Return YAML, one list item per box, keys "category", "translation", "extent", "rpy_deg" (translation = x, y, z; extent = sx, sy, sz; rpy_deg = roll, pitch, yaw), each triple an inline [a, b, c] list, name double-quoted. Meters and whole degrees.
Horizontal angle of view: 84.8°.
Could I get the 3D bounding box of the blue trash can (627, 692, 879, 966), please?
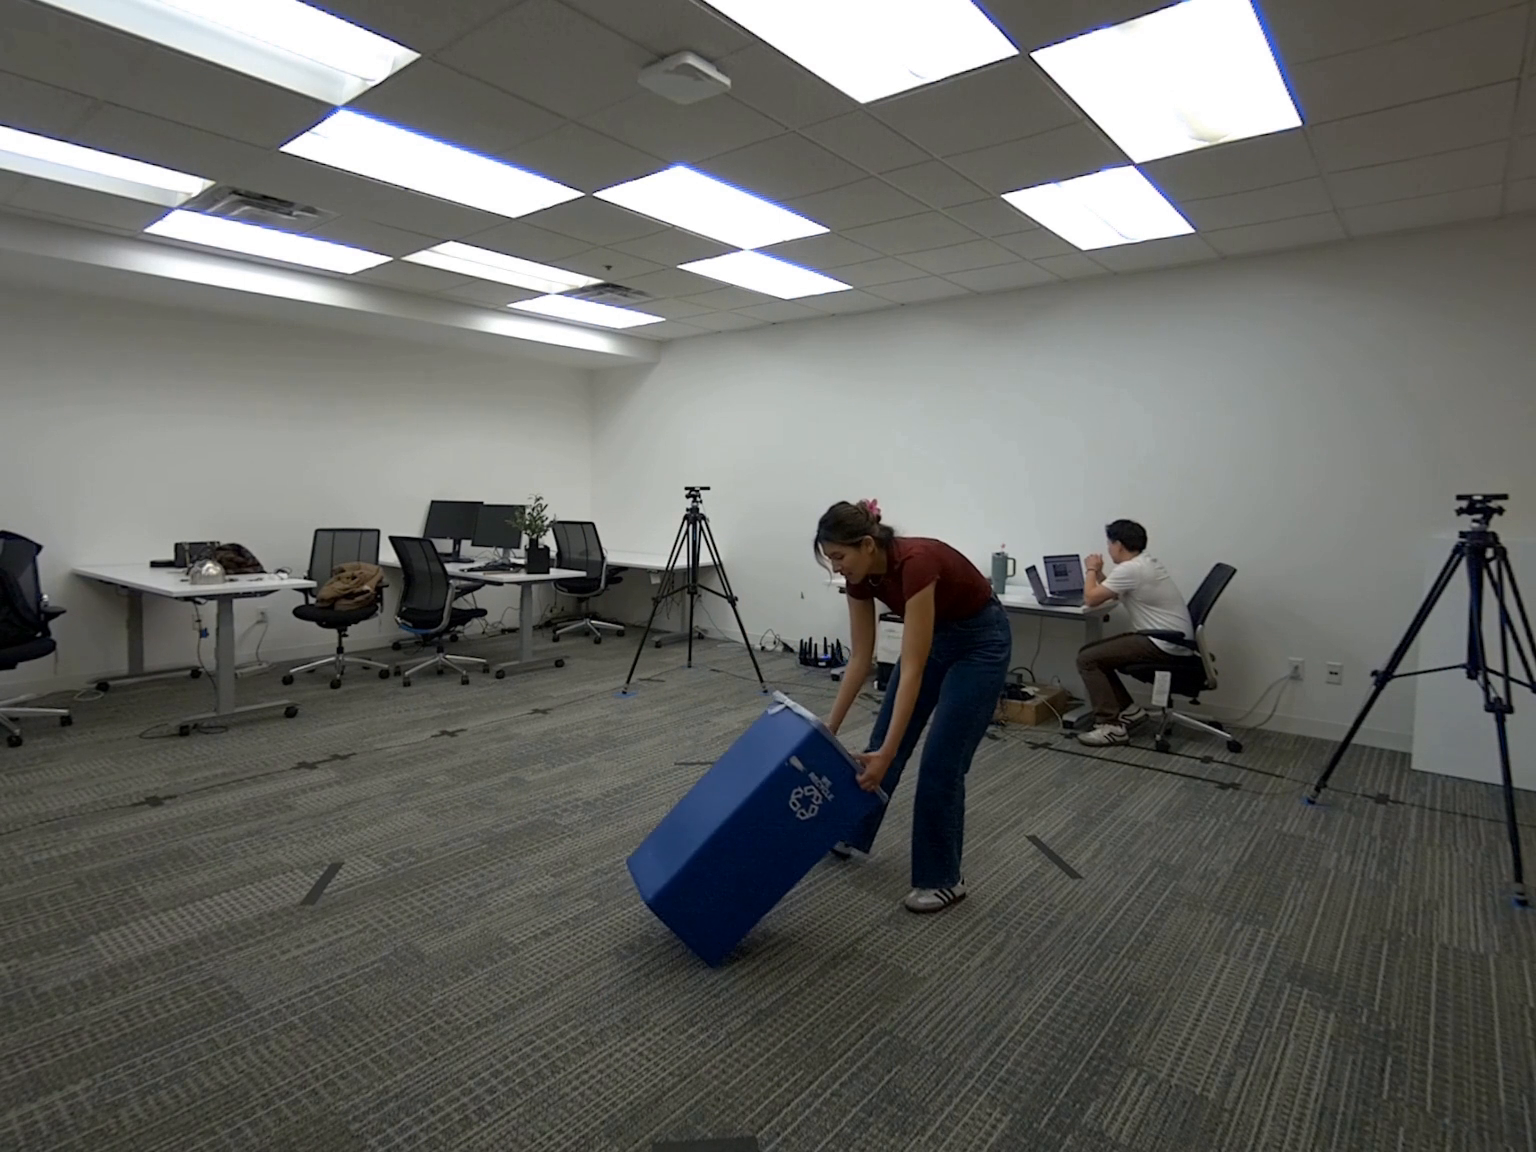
- category: "blue trash can"
  translation: [-0.055, 0.769, 2.627]
  extent: [0.713, 0.366, 0.387]
  rpy_deg: [-45, 17, -11]
